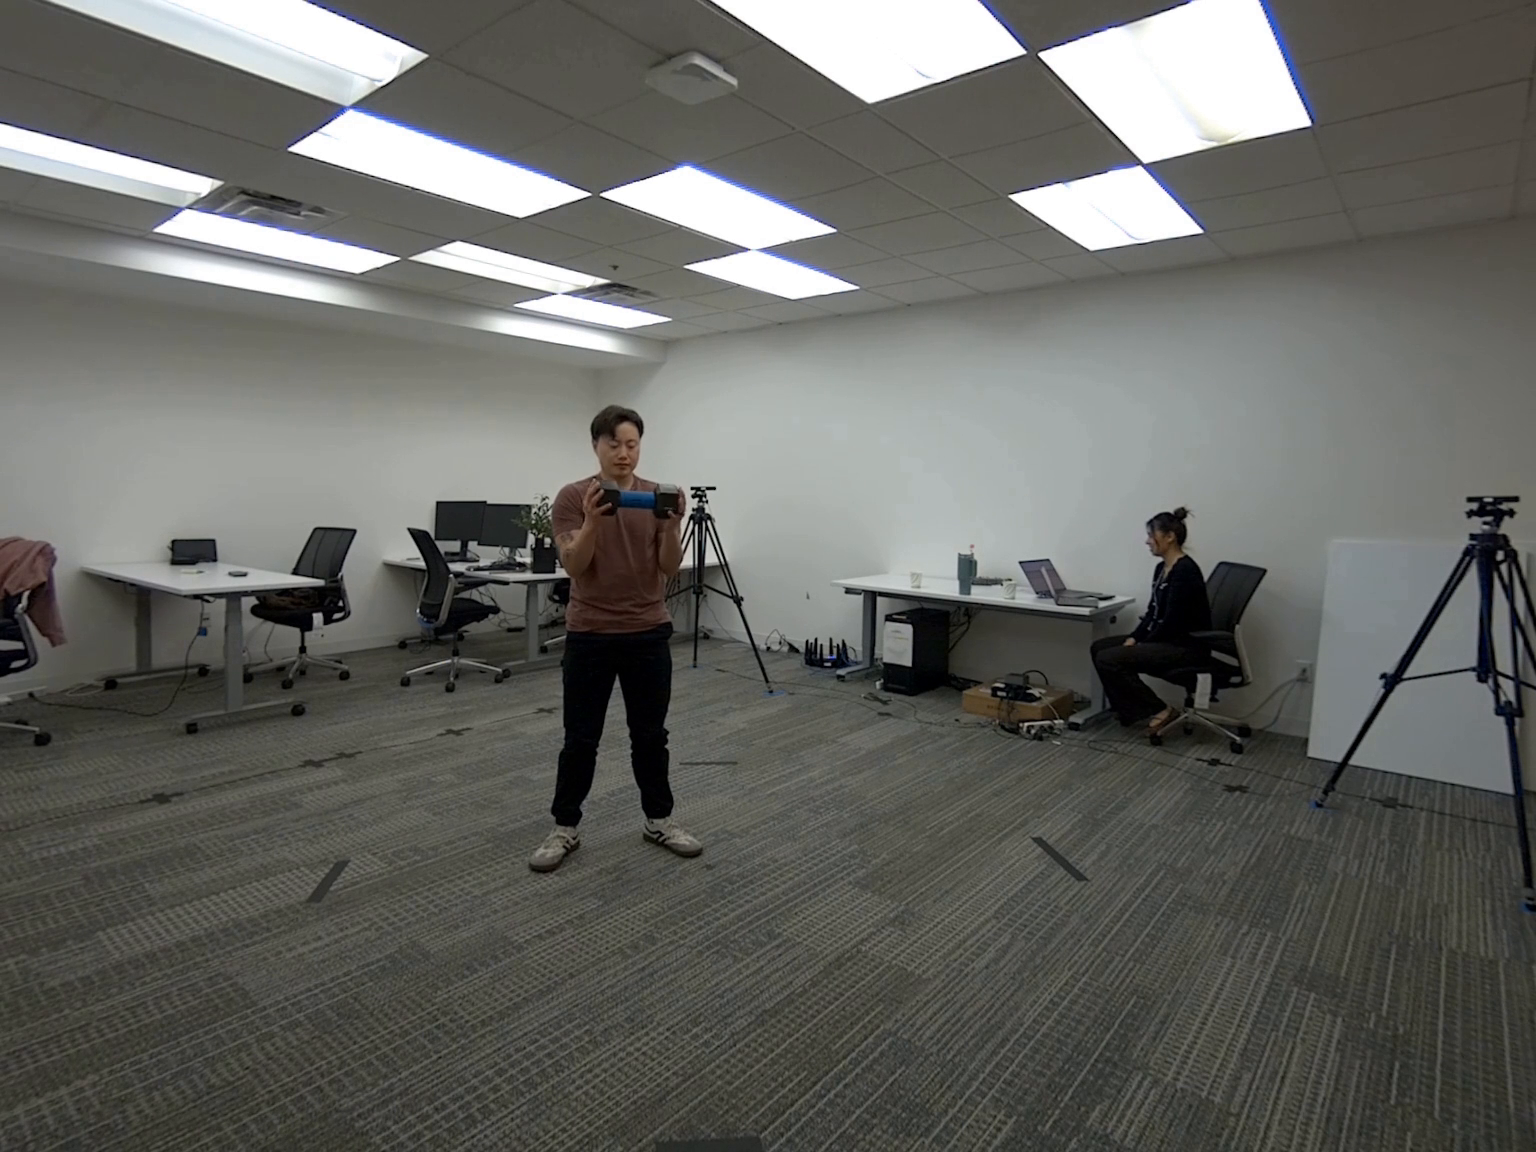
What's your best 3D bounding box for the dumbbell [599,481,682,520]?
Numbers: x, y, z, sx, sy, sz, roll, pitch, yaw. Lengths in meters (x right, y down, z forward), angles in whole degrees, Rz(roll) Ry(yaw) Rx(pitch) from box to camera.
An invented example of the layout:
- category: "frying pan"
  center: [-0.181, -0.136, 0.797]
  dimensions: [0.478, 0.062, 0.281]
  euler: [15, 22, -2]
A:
- category: "dumbbell"
  center: [-0.472, -0.262, 2.962]
  dimensions: [0.291, 0.111, 0.121]
  euler: [1, -28, -8]
